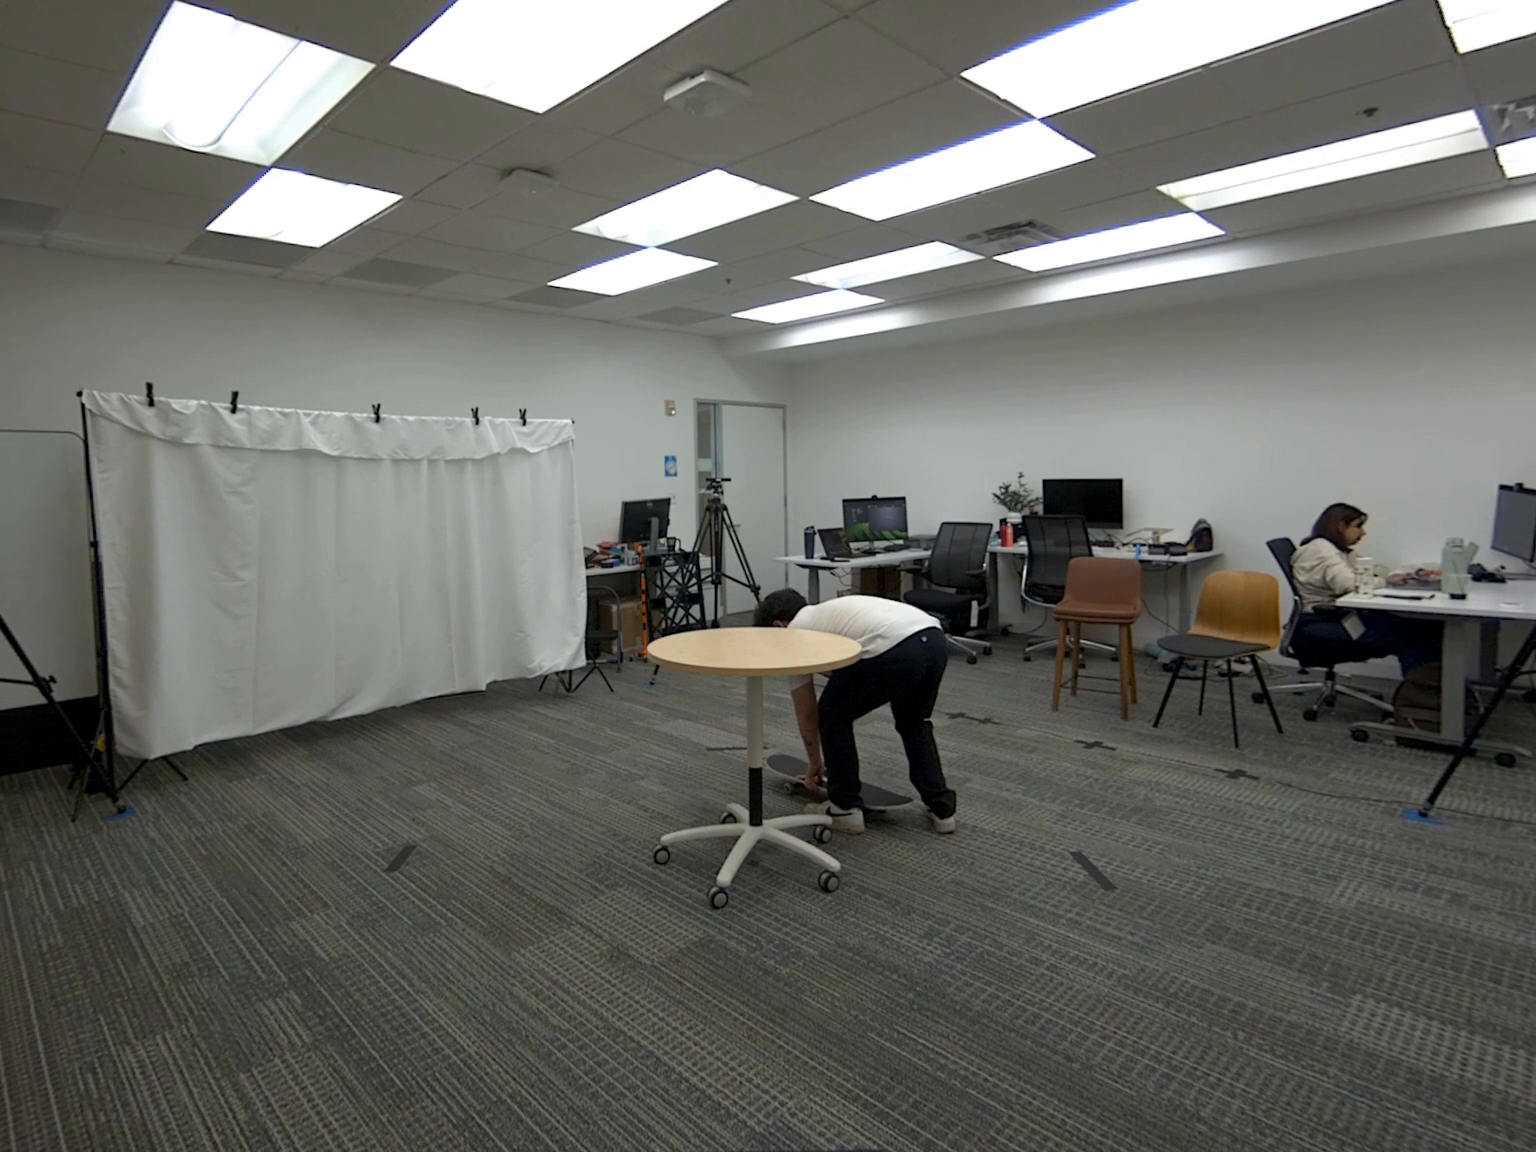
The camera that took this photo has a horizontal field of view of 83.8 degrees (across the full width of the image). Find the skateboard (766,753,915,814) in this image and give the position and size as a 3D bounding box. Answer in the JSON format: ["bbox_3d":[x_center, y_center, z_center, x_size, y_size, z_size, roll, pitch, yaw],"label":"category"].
[{"bbox_3d":[0.295,0.926,3.679,0.188,0.110,0.810,-5,8,-41],"label":"skateboard"}]
